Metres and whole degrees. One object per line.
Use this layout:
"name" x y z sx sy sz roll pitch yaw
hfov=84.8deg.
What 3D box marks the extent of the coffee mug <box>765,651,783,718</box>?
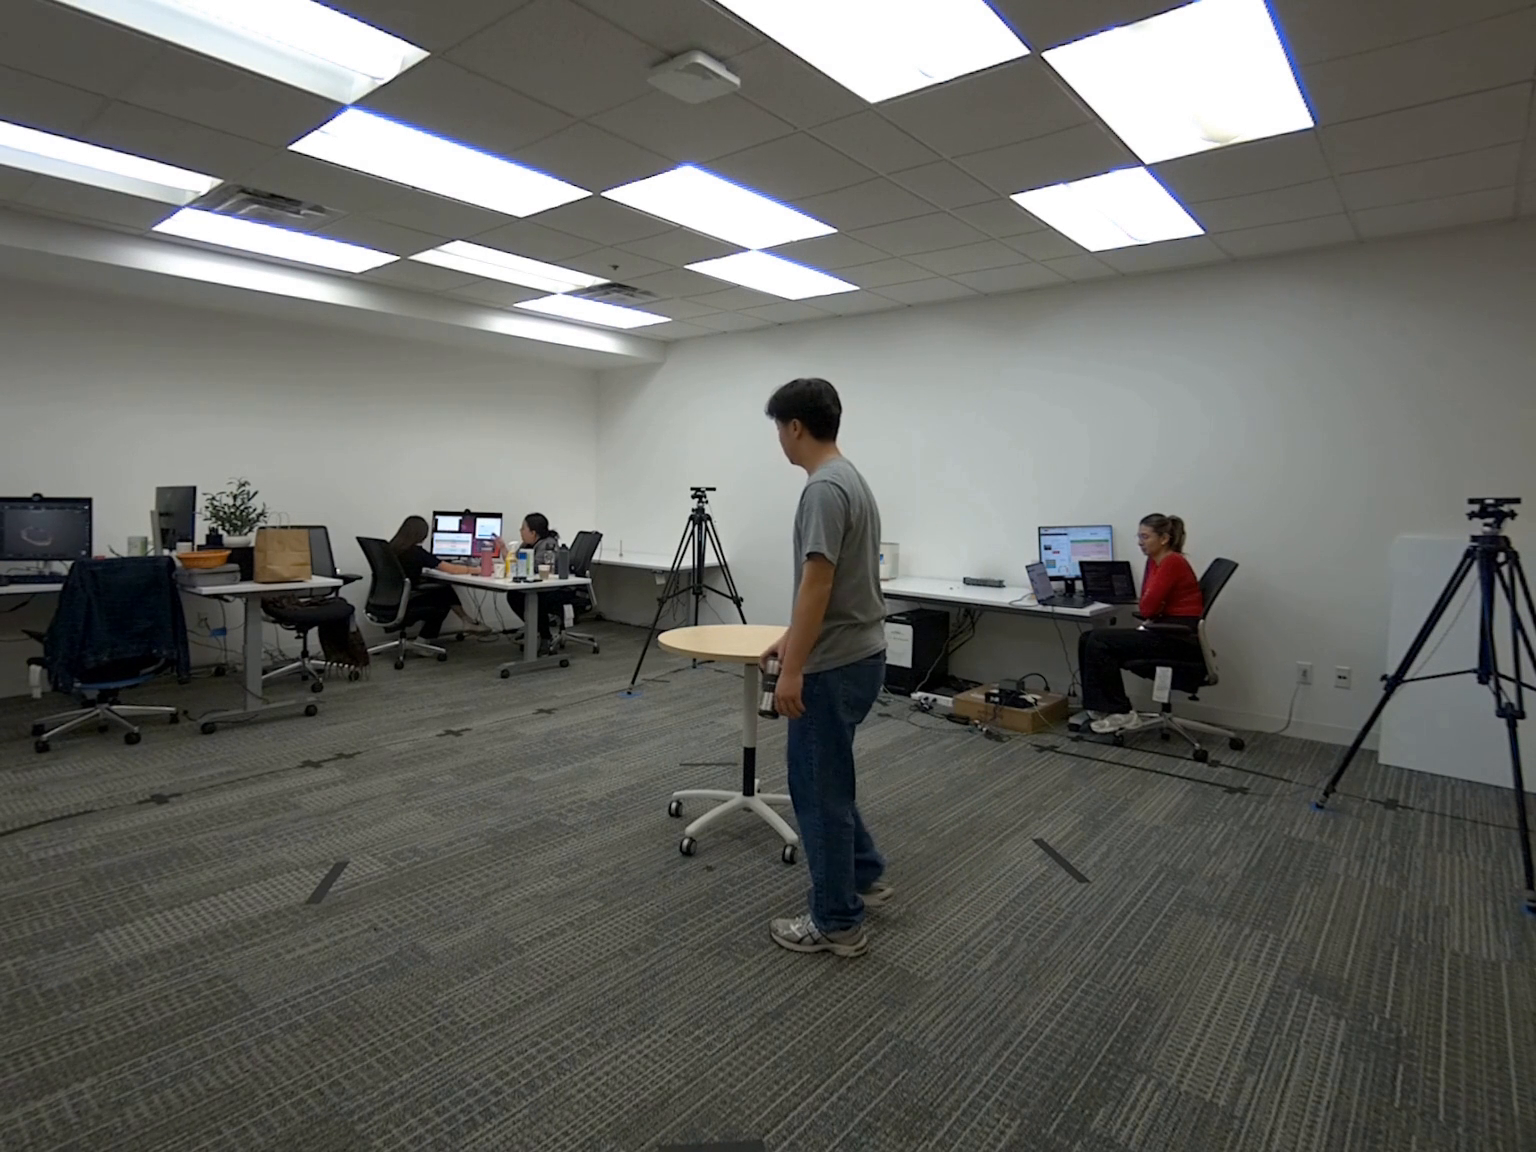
"coffee mug" 0.045 0.366 2.856 0.089 0.207 0.118 -5 -20 12
